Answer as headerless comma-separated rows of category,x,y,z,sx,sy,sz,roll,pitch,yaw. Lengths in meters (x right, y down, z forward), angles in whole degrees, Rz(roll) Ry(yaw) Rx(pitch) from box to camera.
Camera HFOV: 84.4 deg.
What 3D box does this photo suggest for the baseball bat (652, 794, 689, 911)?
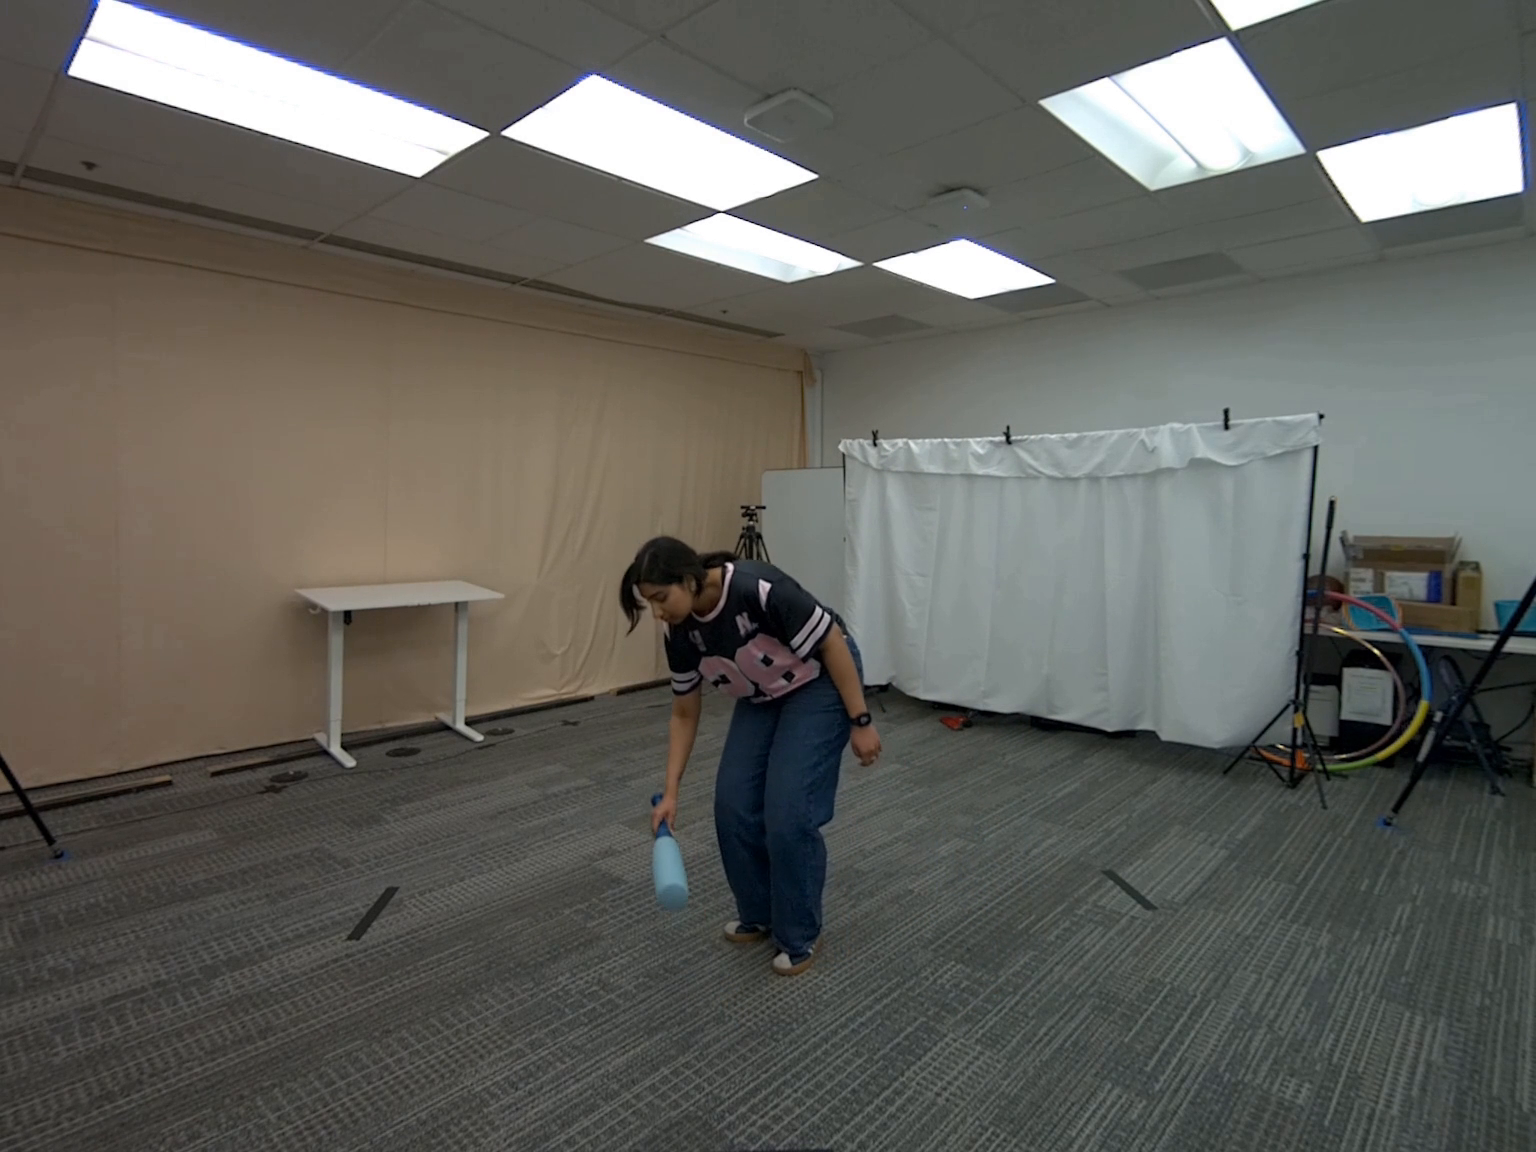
baseball bat,-0.280,0.759,2.414,0.088,0.088,0.551,-1,12,-9
